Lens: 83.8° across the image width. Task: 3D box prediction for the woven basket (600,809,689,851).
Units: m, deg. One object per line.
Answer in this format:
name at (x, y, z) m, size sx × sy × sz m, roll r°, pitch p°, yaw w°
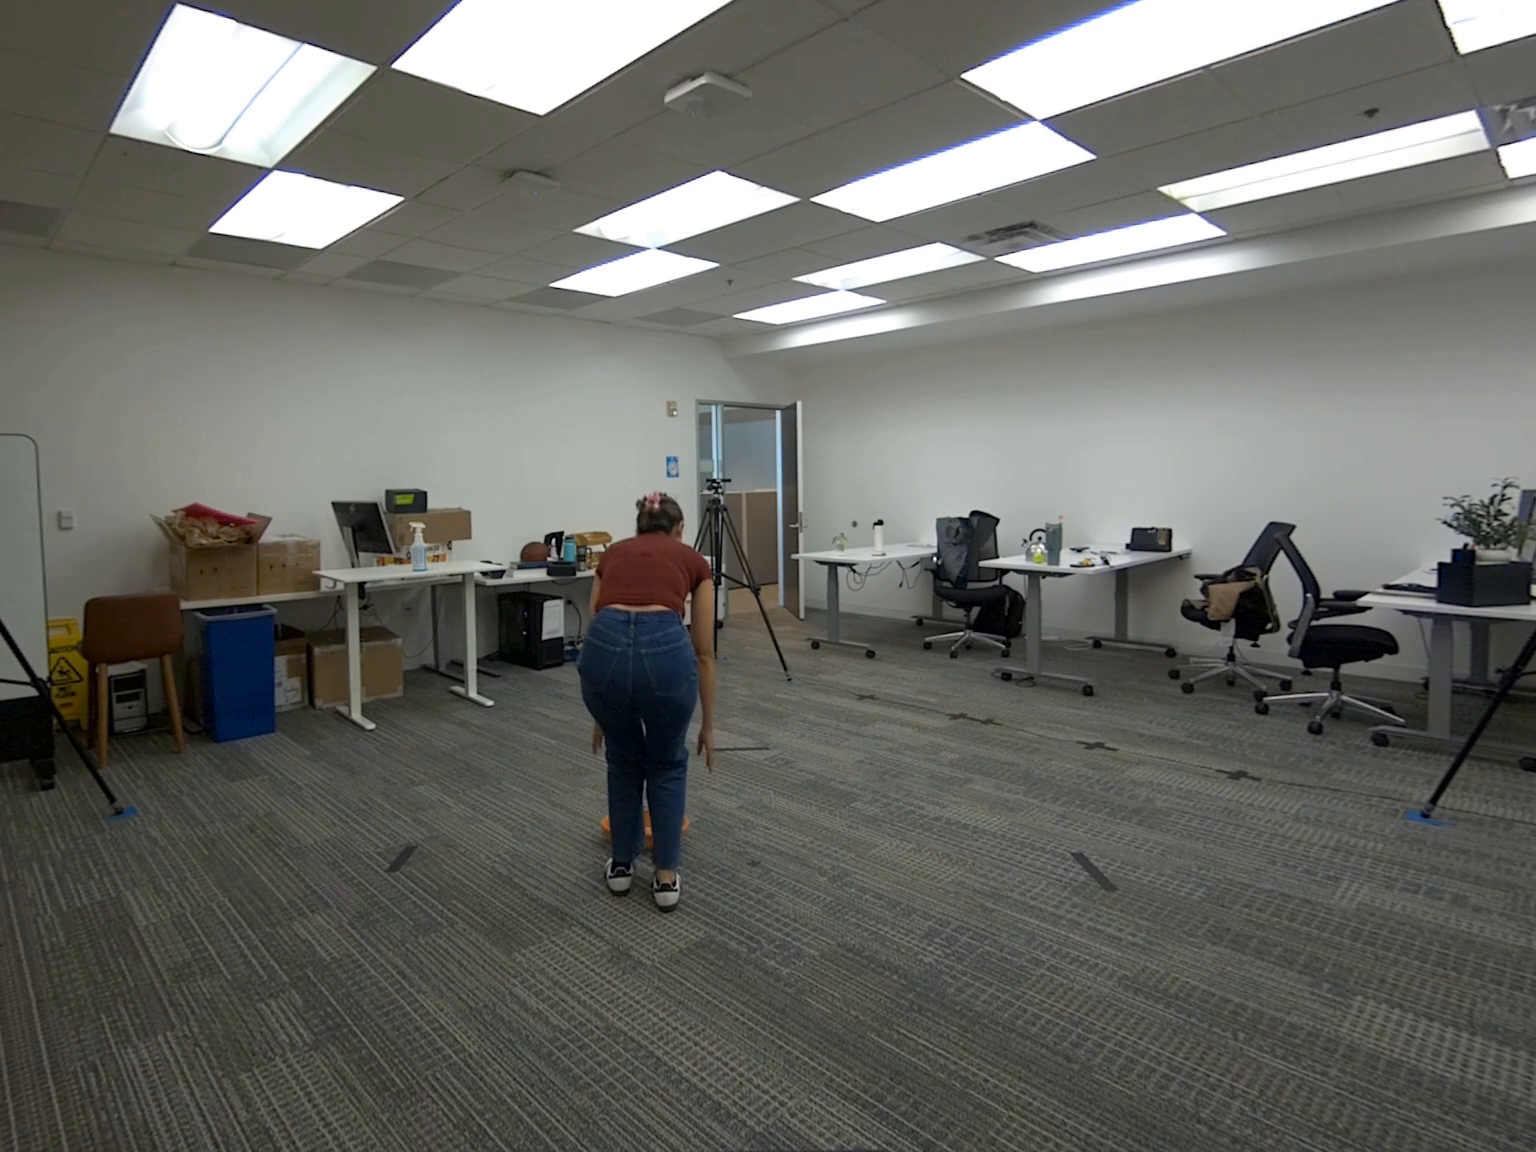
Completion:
woven basket at (-0.474, 1.000, 3.330) m, size 0.356 × 0.073 × 0.249 m, roll 1°, pitch 4°, yaw 15°
